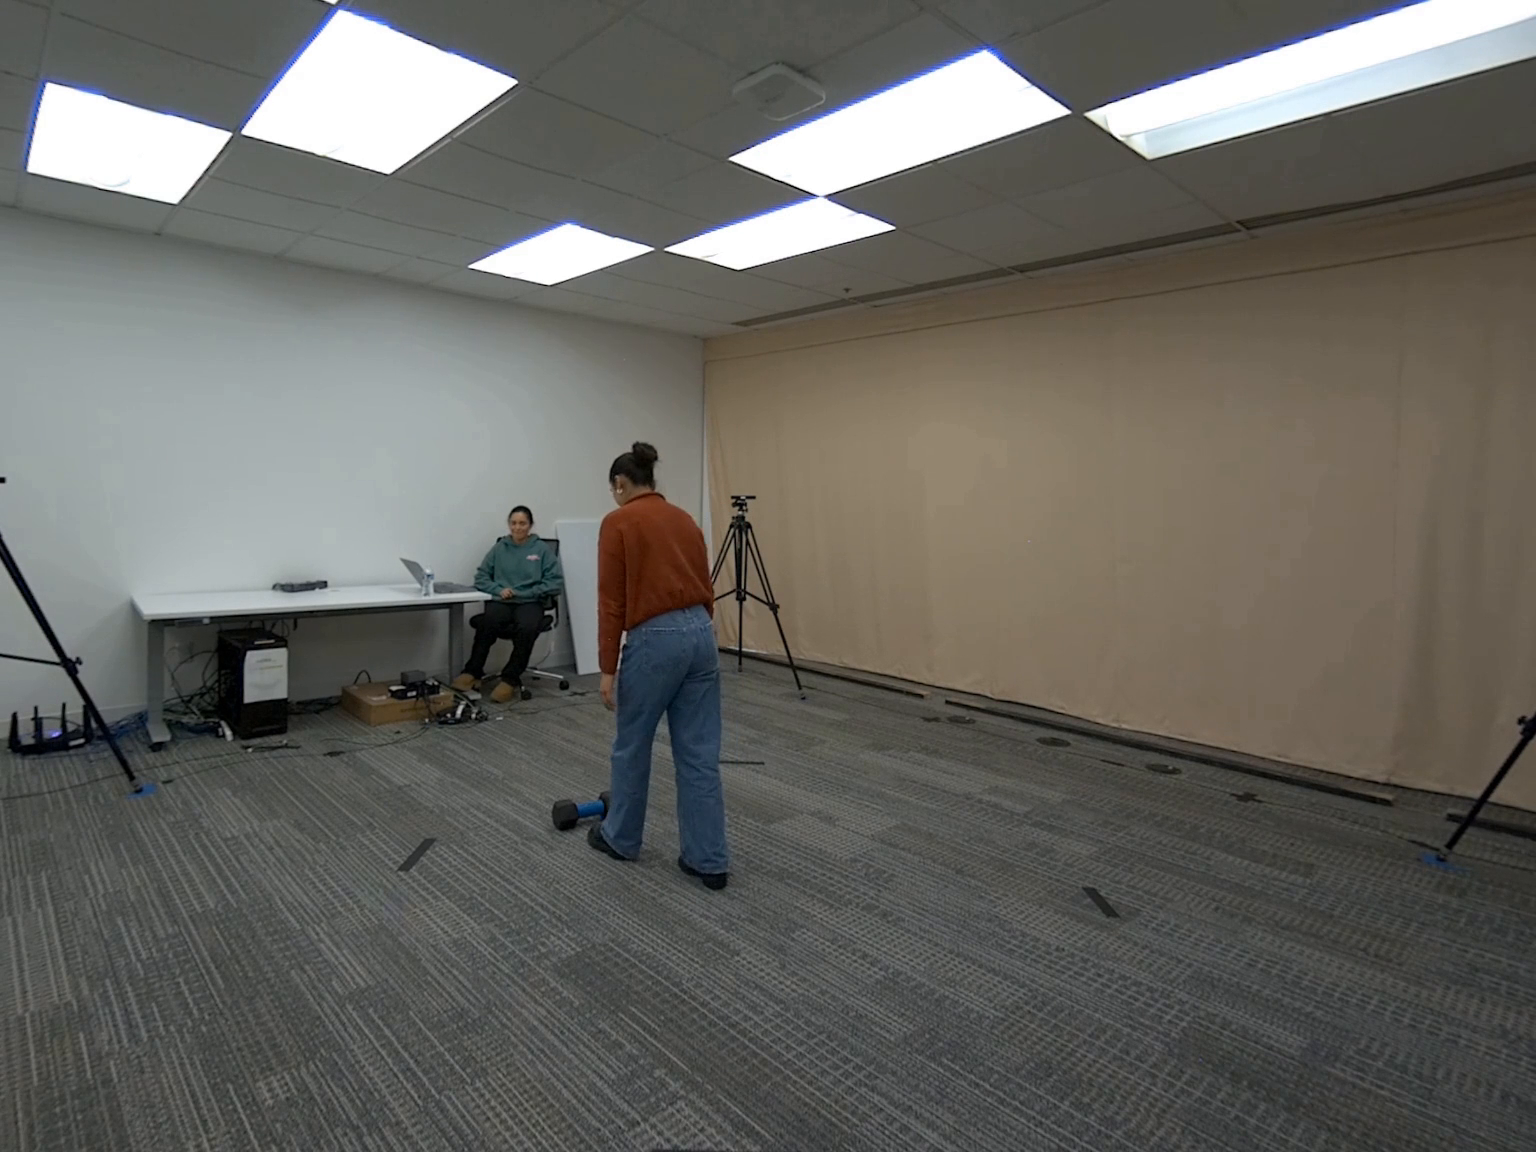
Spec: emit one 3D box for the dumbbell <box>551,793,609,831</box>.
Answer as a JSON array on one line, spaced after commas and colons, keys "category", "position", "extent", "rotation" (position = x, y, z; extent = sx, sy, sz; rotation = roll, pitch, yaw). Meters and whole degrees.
[{"category": "dumbbell", "position": [-0.774, 0.994, 3.575], "extent": [0.287, 0.125, 0.109], "rotation": [-2, -23, -36]}]
